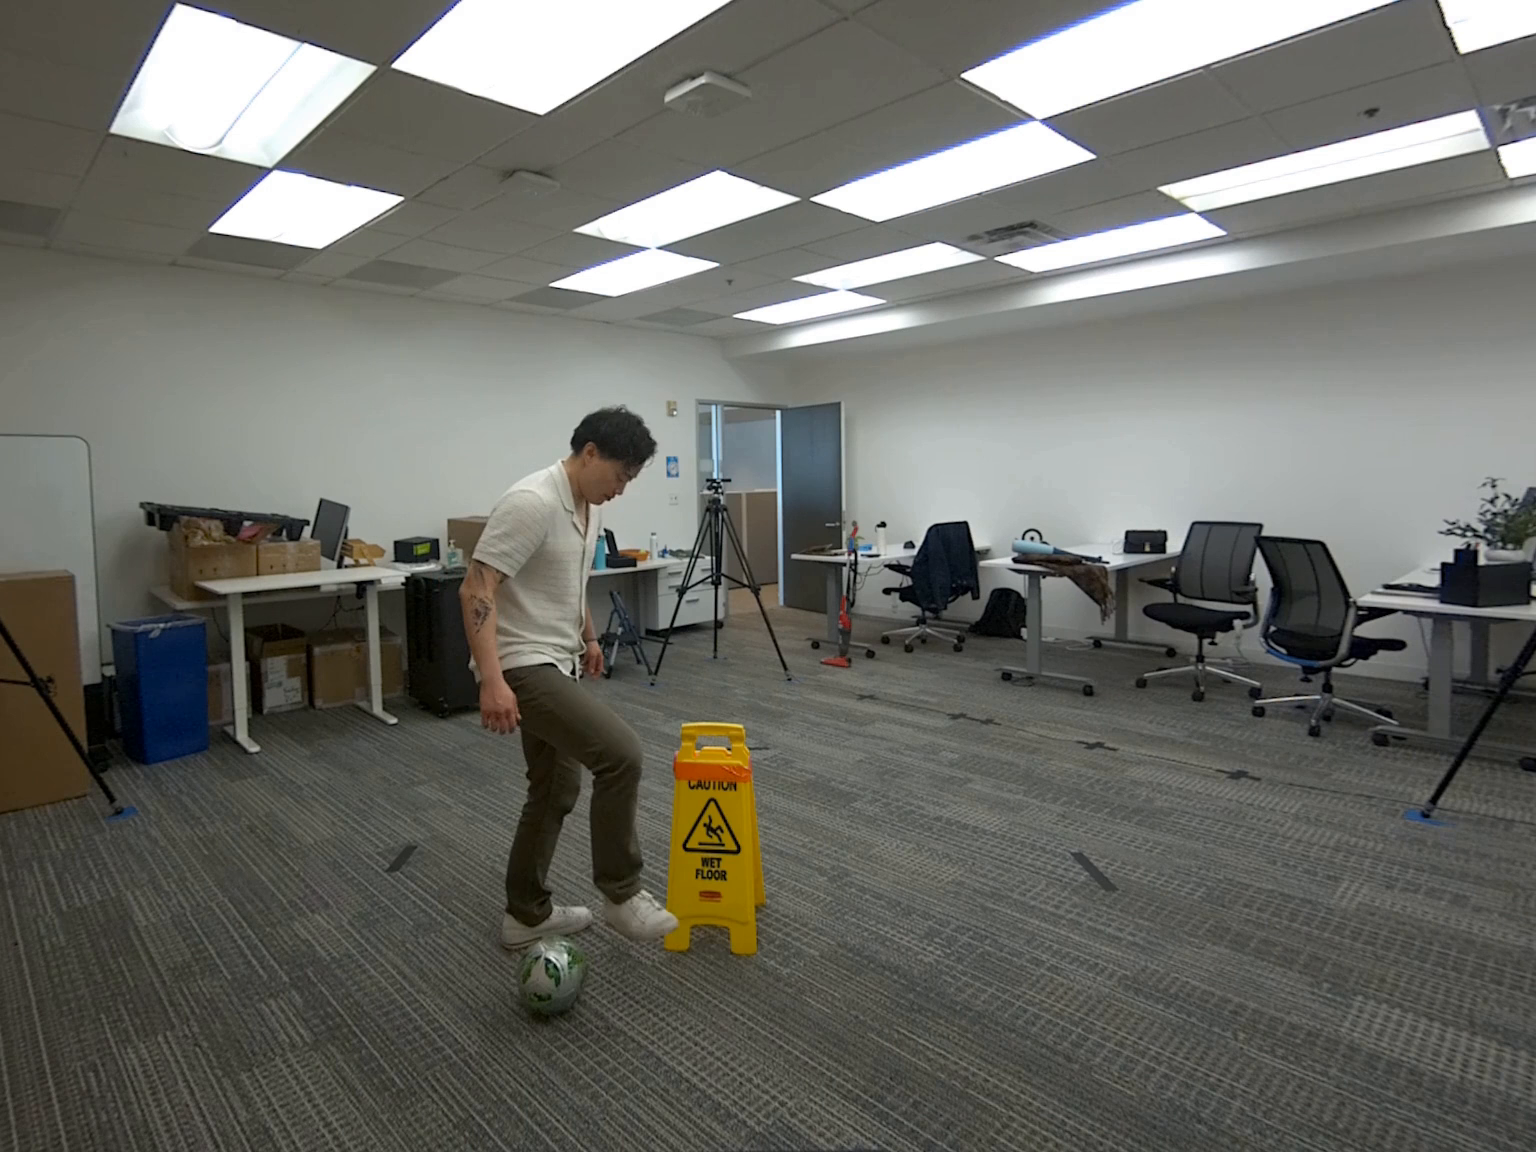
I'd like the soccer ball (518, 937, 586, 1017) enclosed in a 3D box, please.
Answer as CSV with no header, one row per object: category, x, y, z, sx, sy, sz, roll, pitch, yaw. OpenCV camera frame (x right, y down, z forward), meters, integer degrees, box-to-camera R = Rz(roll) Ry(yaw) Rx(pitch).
soccer ball,-0.568,1.067,2.271,0.187,0.187,0.188,-1,5,-2
